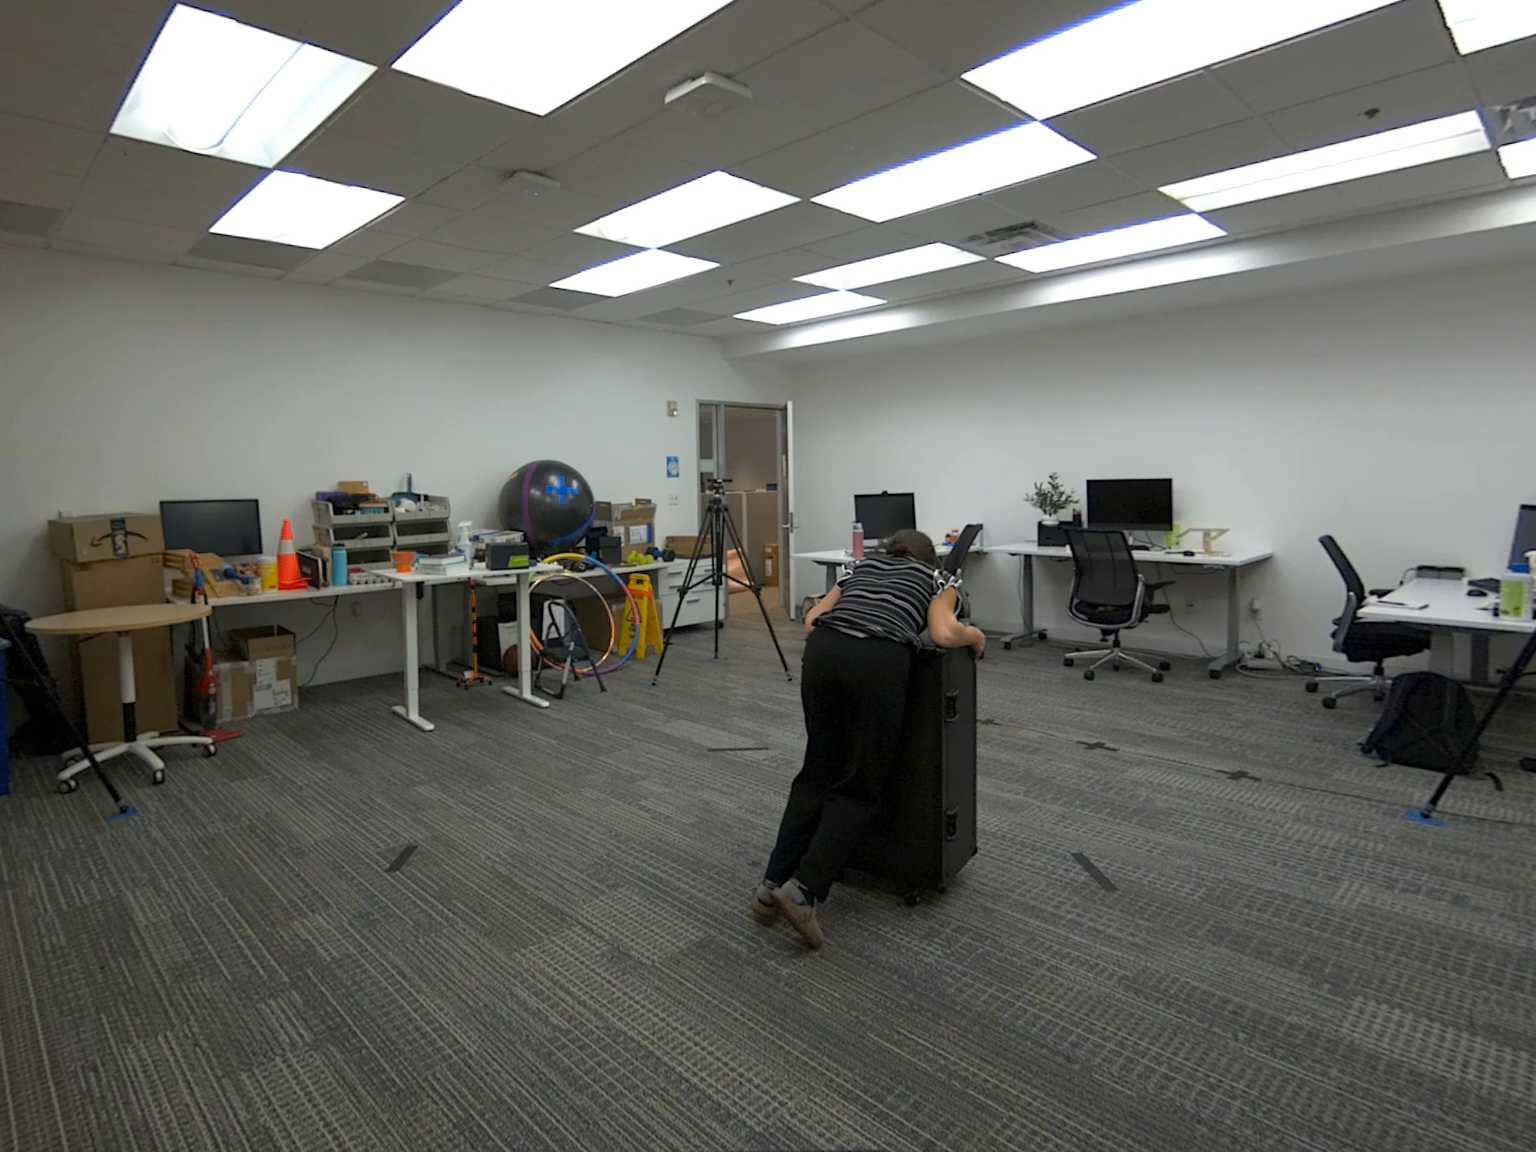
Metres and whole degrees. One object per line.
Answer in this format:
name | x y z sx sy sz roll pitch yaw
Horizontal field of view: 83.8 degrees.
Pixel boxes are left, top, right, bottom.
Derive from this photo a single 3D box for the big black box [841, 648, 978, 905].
big black box | 0.441 0.633 2.986 0.536 0.859 0.386 2 4 33
